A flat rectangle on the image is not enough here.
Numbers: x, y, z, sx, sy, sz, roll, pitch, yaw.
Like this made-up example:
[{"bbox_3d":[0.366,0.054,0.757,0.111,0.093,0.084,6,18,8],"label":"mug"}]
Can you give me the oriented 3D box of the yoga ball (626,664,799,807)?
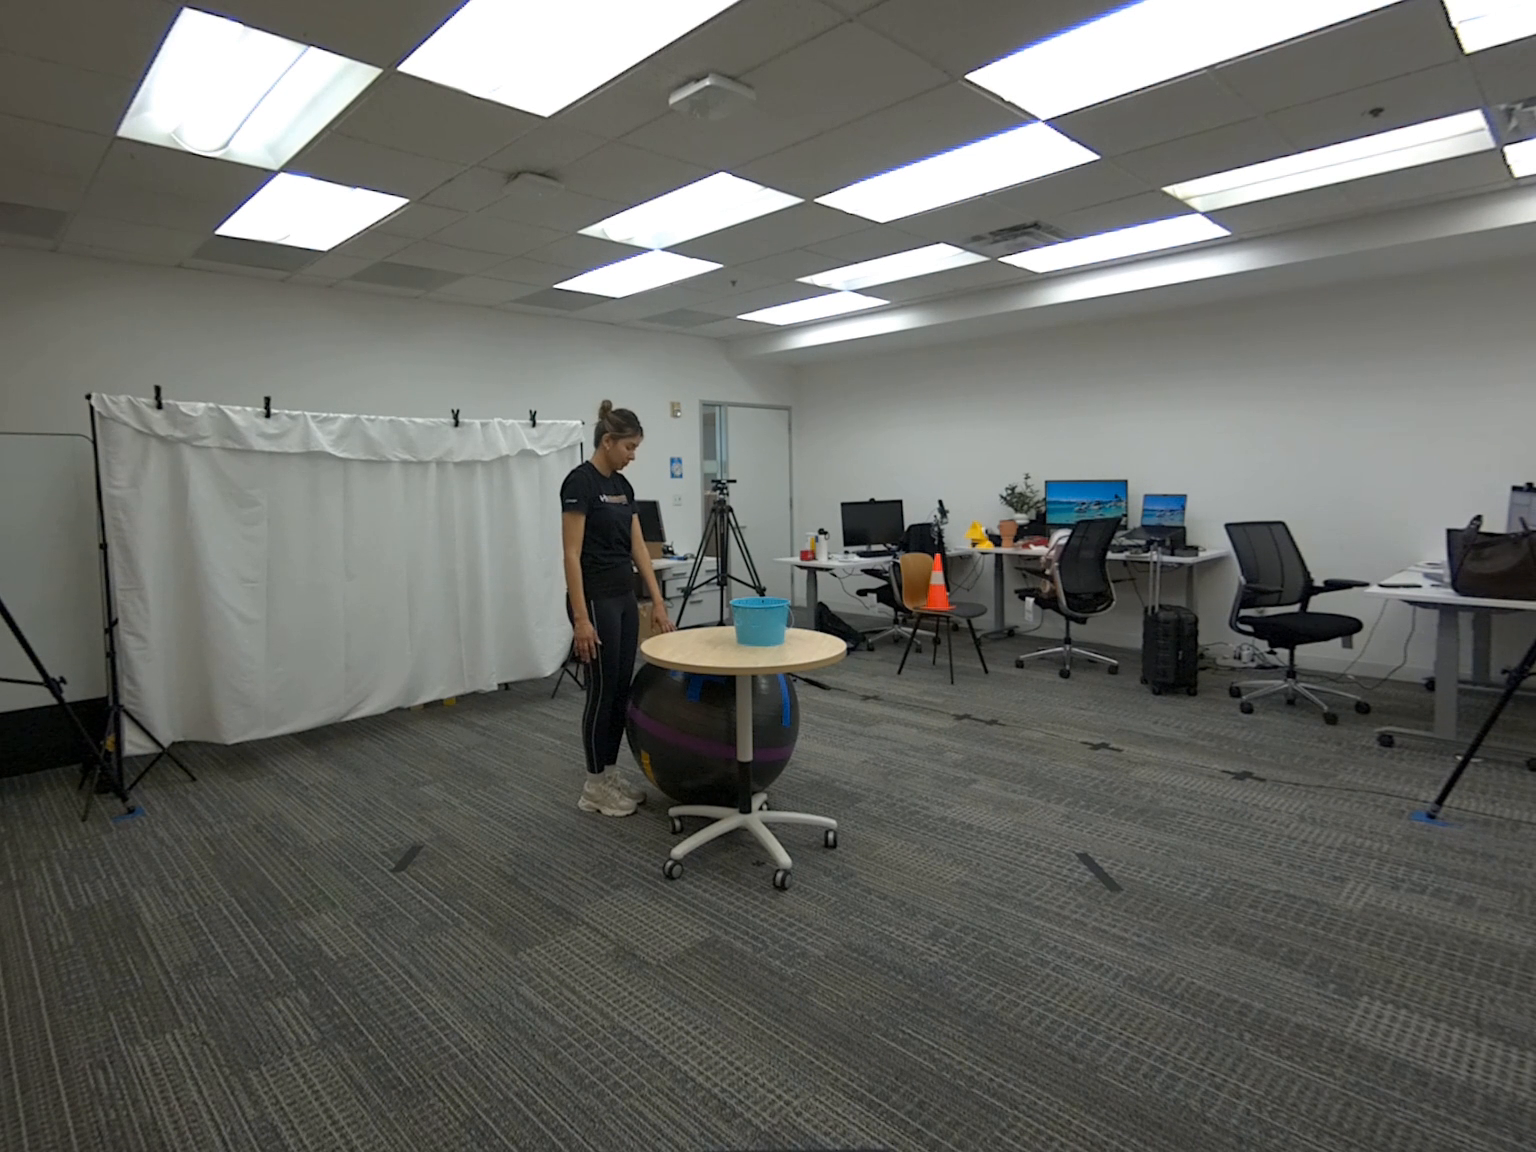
[{"bbox_3d":[-0.242,0.620,3.721,0.757,0.755,0.762,-1,5,-2],"label":"yoga ball"}]
